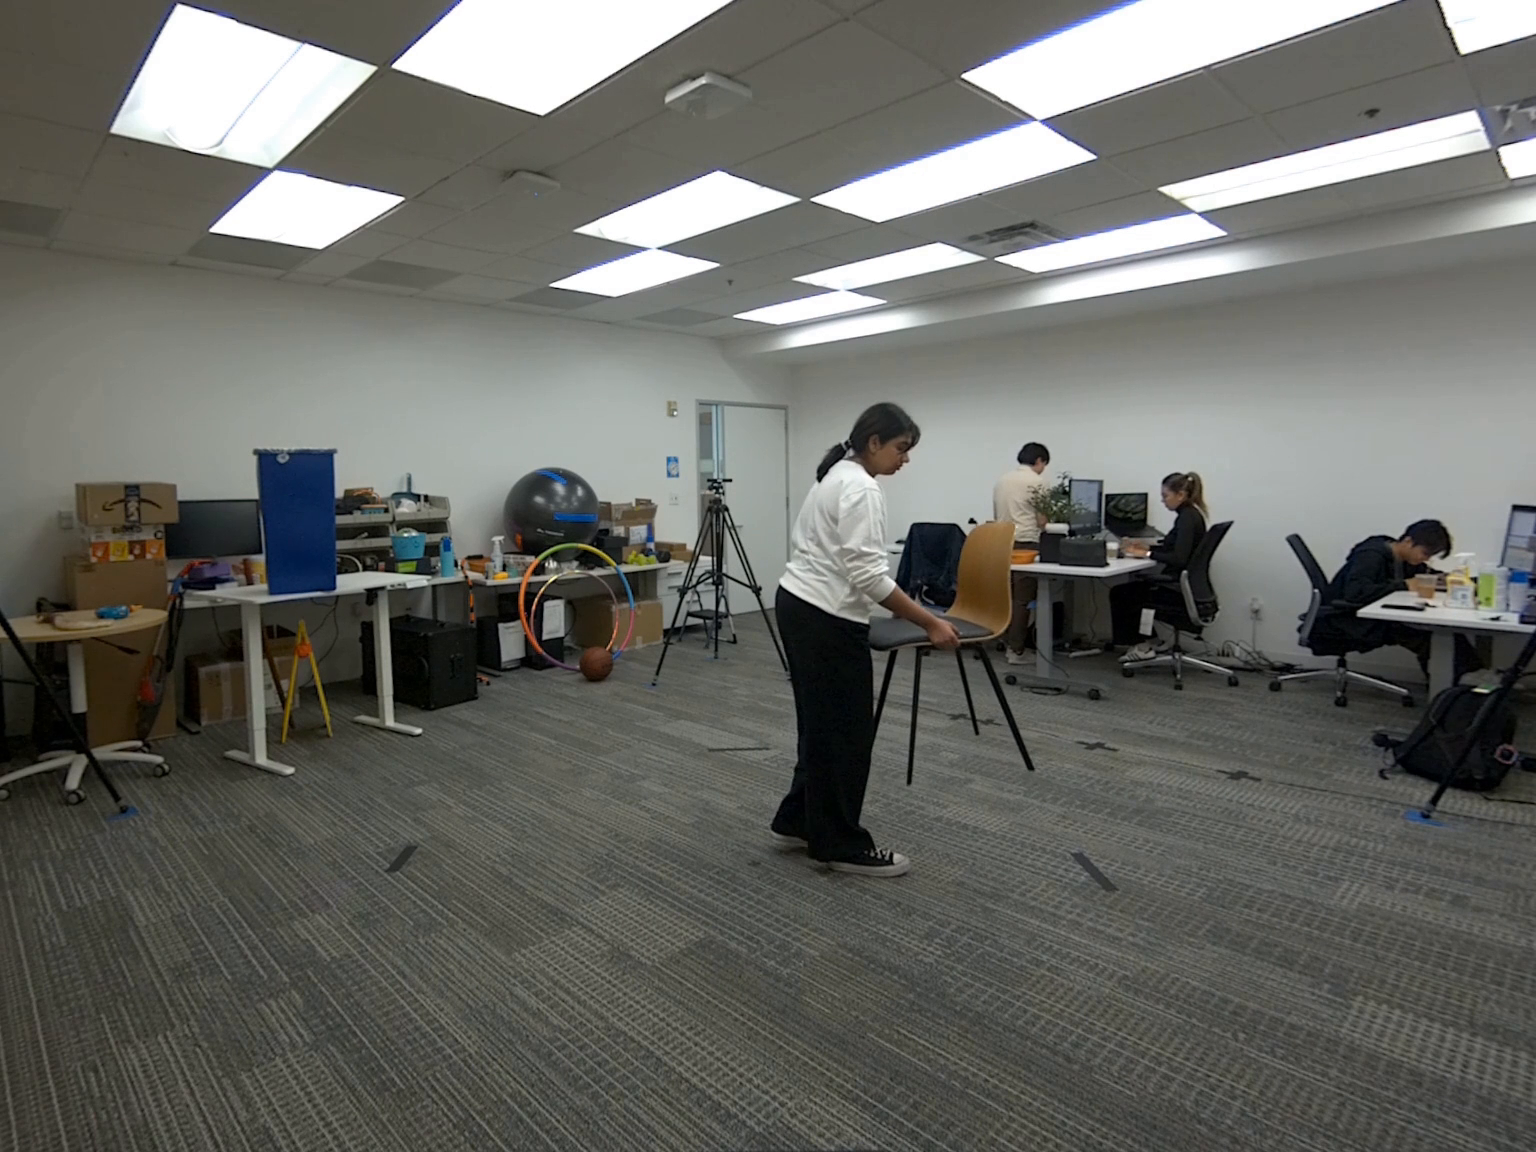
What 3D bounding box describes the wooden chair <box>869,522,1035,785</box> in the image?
[{"bbox_3d":[0.612,0.245,3.092,0.519,0.875,0.484,0,4,-9],"label":"wooden chair"}]
